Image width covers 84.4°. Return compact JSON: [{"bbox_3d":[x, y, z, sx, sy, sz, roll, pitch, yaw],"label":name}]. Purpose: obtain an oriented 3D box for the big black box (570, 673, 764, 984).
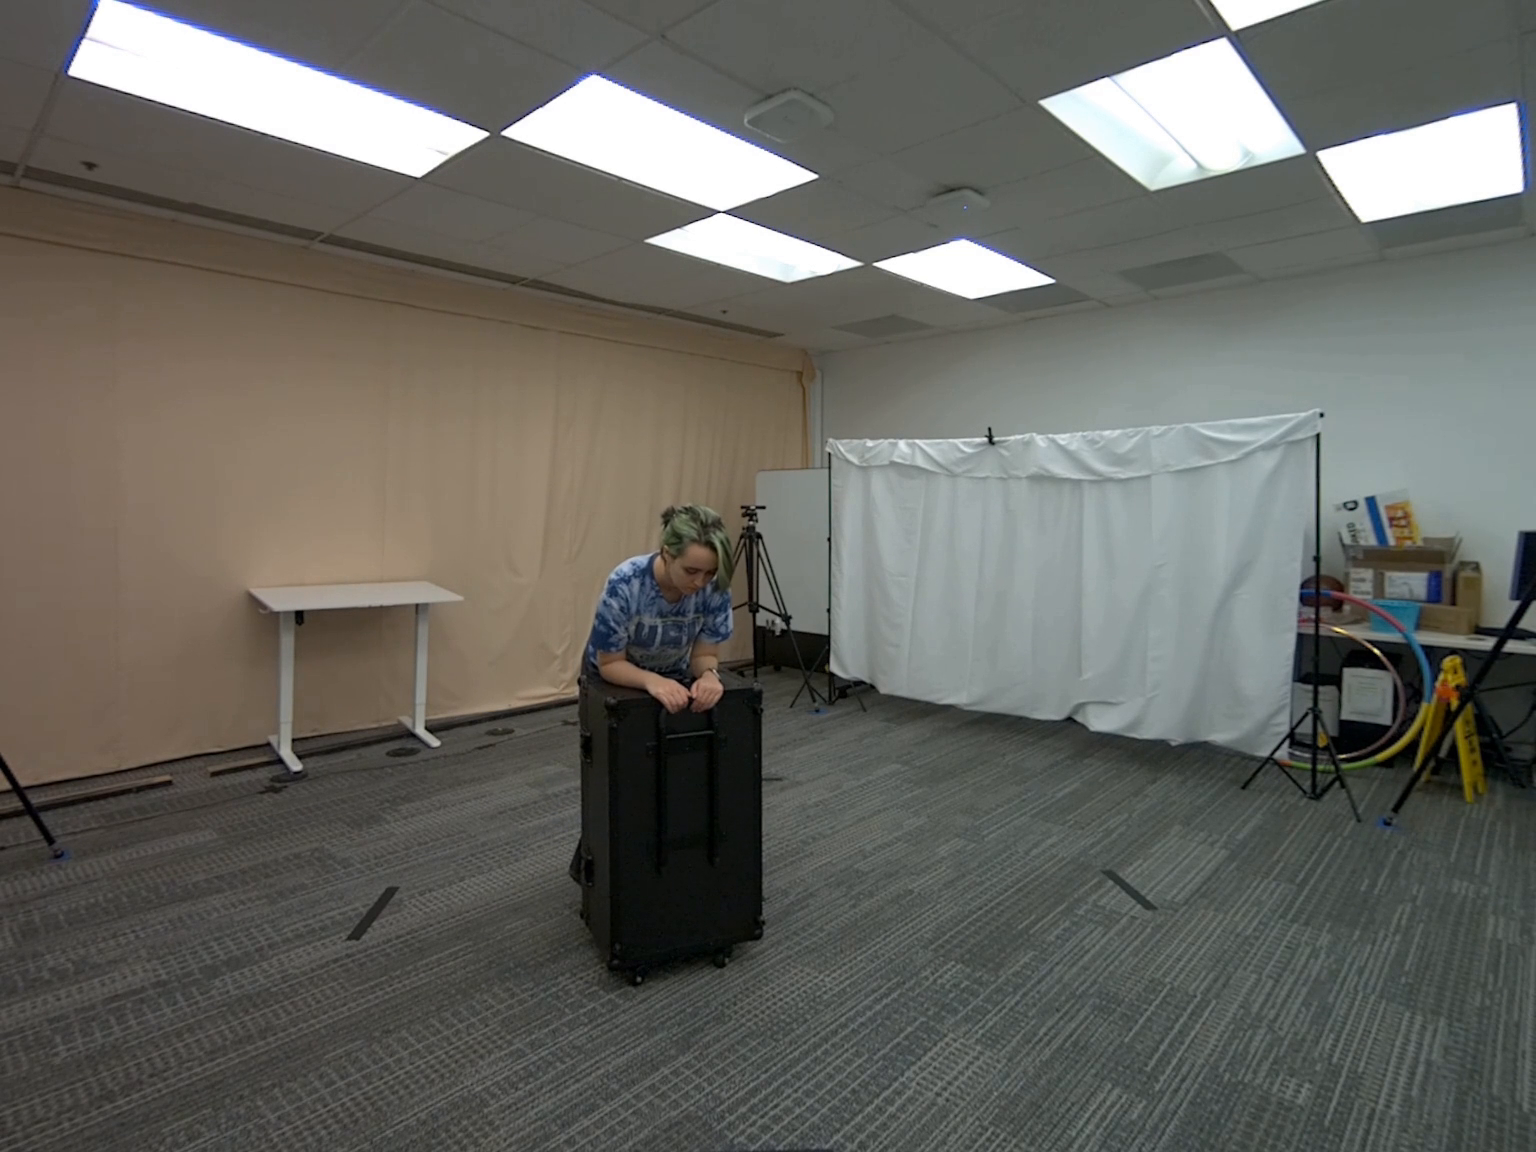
[{"bbox_3d":[-0.299,0.693,2.602,0.509,0.860,0.406,0,3,-23],"label":"big black box"}]
